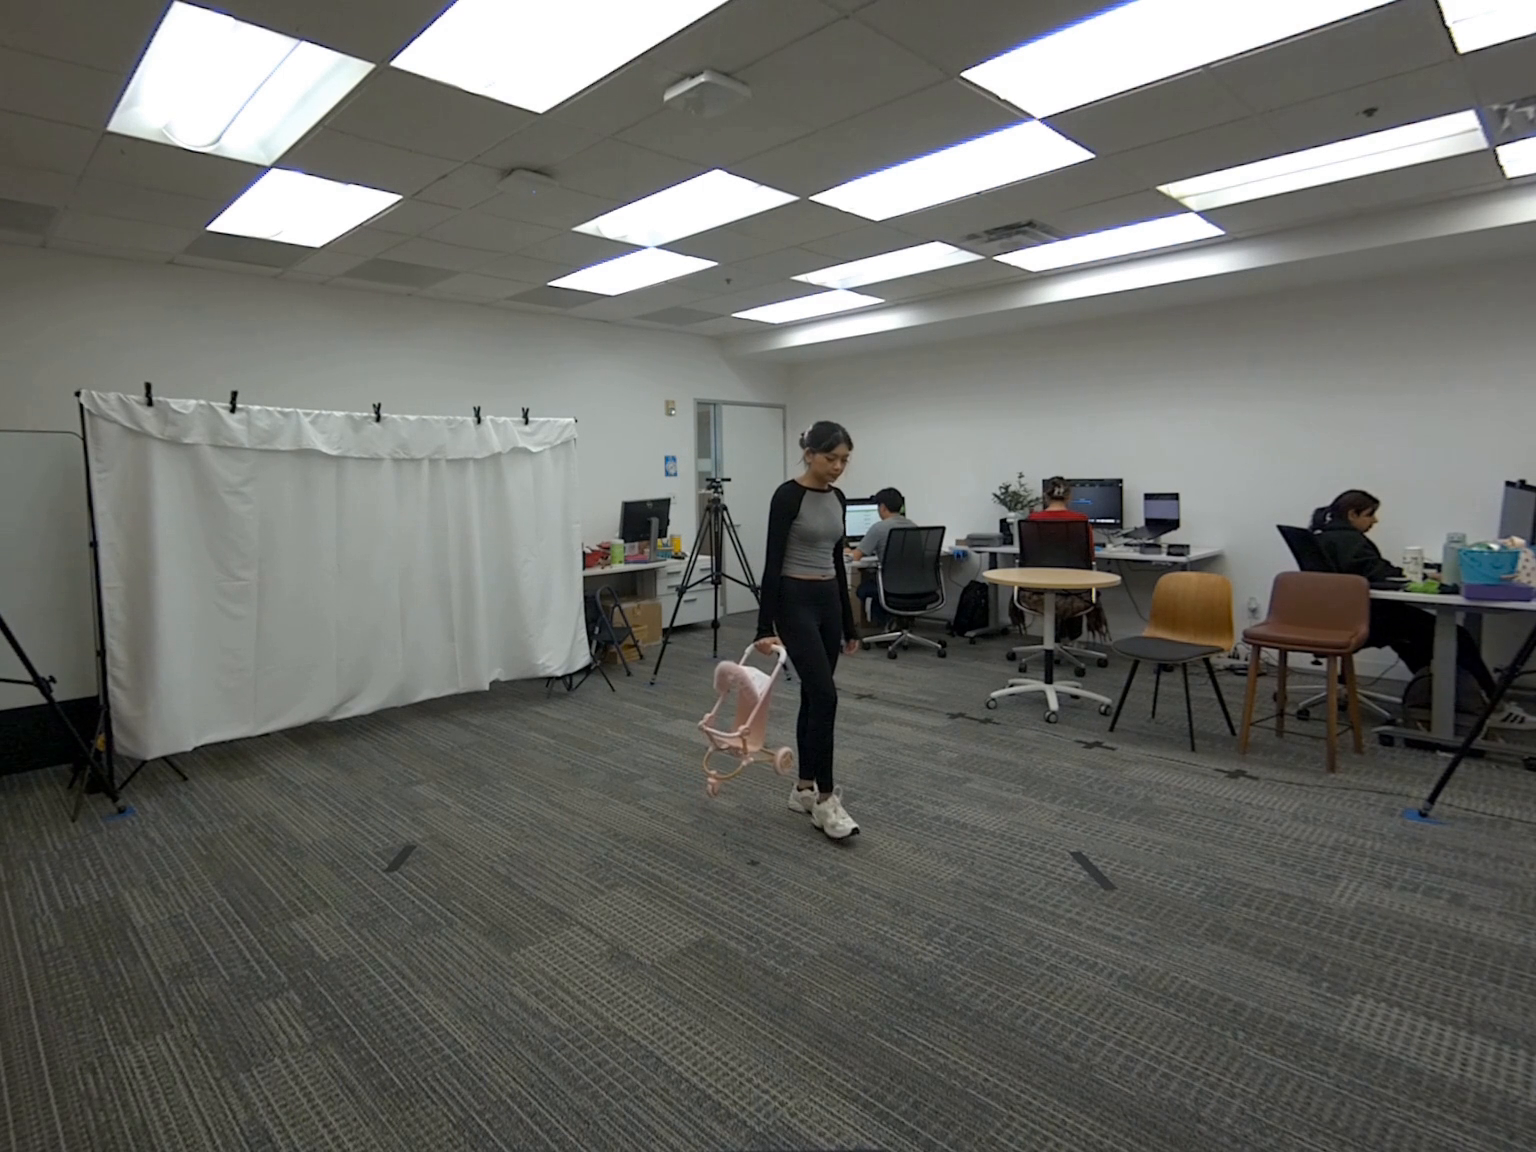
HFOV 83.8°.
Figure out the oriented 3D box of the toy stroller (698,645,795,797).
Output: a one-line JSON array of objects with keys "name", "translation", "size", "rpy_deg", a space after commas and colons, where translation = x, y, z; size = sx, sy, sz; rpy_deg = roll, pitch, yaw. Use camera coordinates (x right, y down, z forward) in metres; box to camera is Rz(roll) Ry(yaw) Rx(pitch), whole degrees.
[{"name": "toy stroller", "translation": [-0.106, 0.548, 3.238], "size": [0.333, 0.531, 0.291], "rpy_deg": [-7, 10, -39]}]
